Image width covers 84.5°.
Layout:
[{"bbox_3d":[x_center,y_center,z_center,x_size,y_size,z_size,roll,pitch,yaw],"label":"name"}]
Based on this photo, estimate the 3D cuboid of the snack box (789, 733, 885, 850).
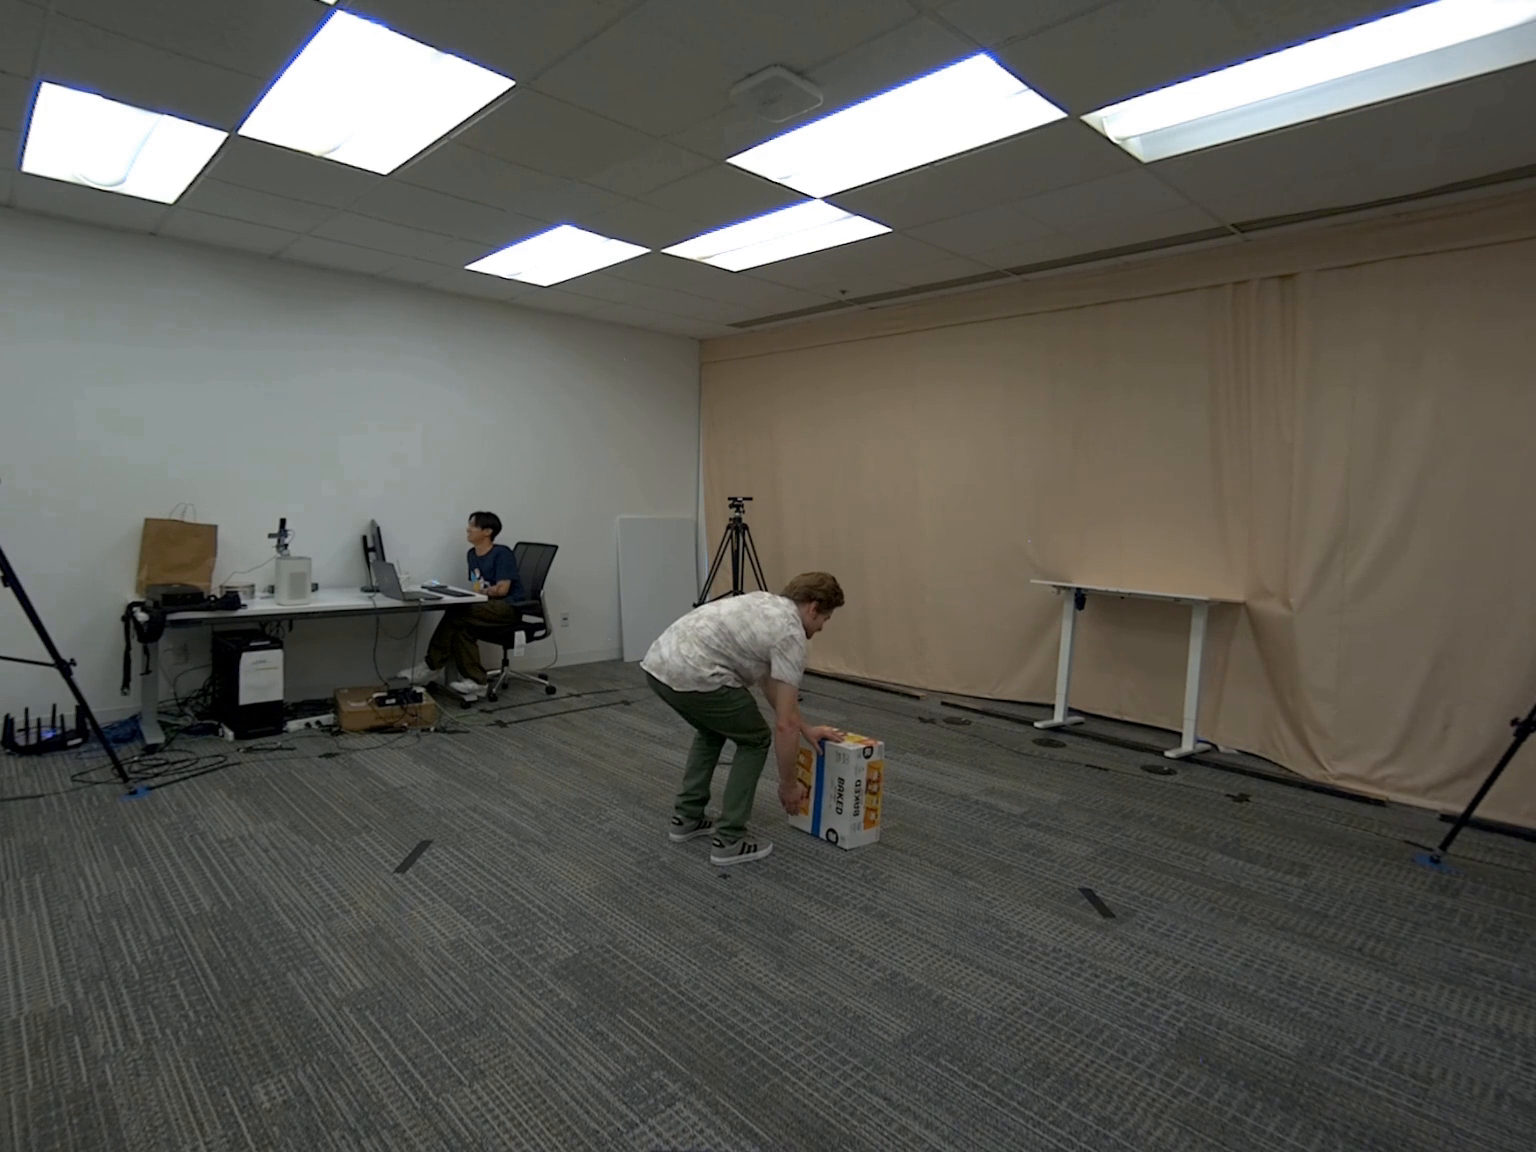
[{"bbox_3d":[0.278,0.874,3.543,0.201,0.405,0.349,2,2,-41],"label":"snack box"}]
